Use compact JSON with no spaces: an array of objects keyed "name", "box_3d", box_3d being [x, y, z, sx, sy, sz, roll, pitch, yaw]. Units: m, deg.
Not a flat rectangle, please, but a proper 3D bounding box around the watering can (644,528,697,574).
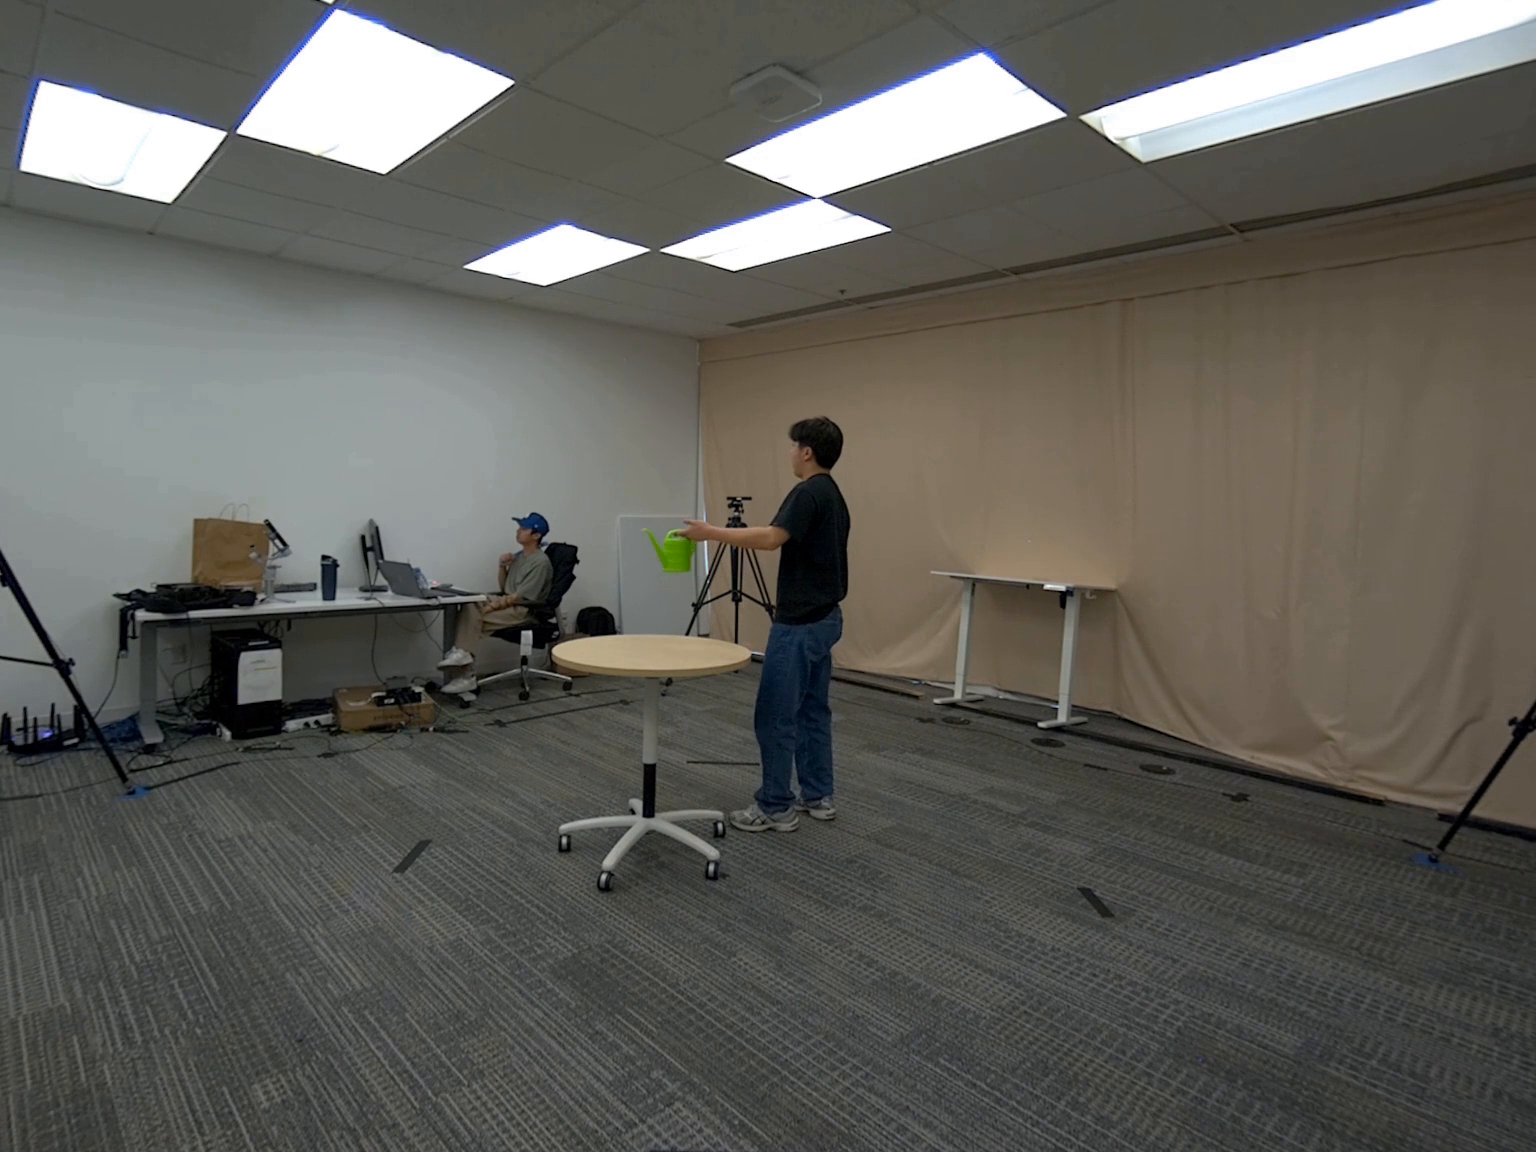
[{"name":"watering can","box_3d":[-0.423,-0.101,3.471,0.272,0.176,0.100,0,3,-33]}]
